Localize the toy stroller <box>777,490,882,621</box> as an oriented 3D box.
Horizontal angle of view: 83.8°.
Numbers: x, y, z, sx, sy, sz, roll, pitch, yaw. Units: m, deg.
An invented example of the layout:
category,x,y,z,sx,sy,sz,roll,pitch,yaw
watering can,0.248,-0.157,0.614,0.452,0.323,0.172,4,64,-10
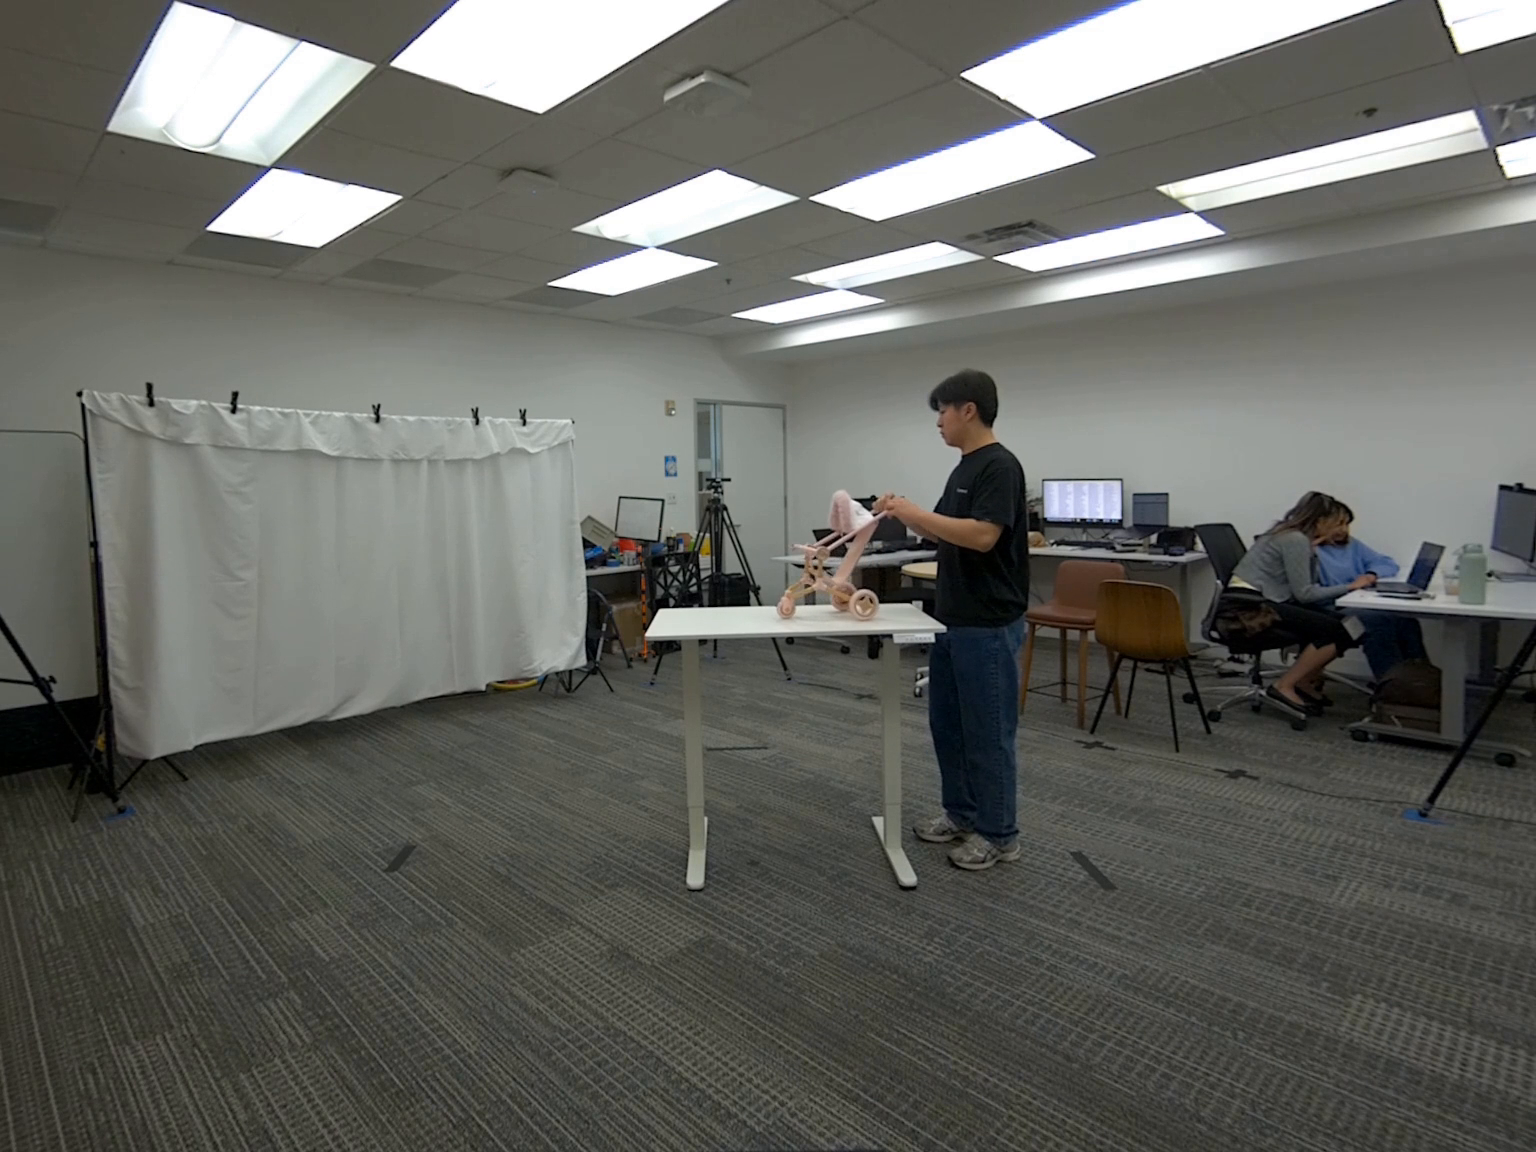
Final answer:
category,x,y,z,sx,sy,sz,roll,pitch,yaw
toy stroller,0.253,-0.075,3.127,0.339,0.534,0.283,14,2,-5
